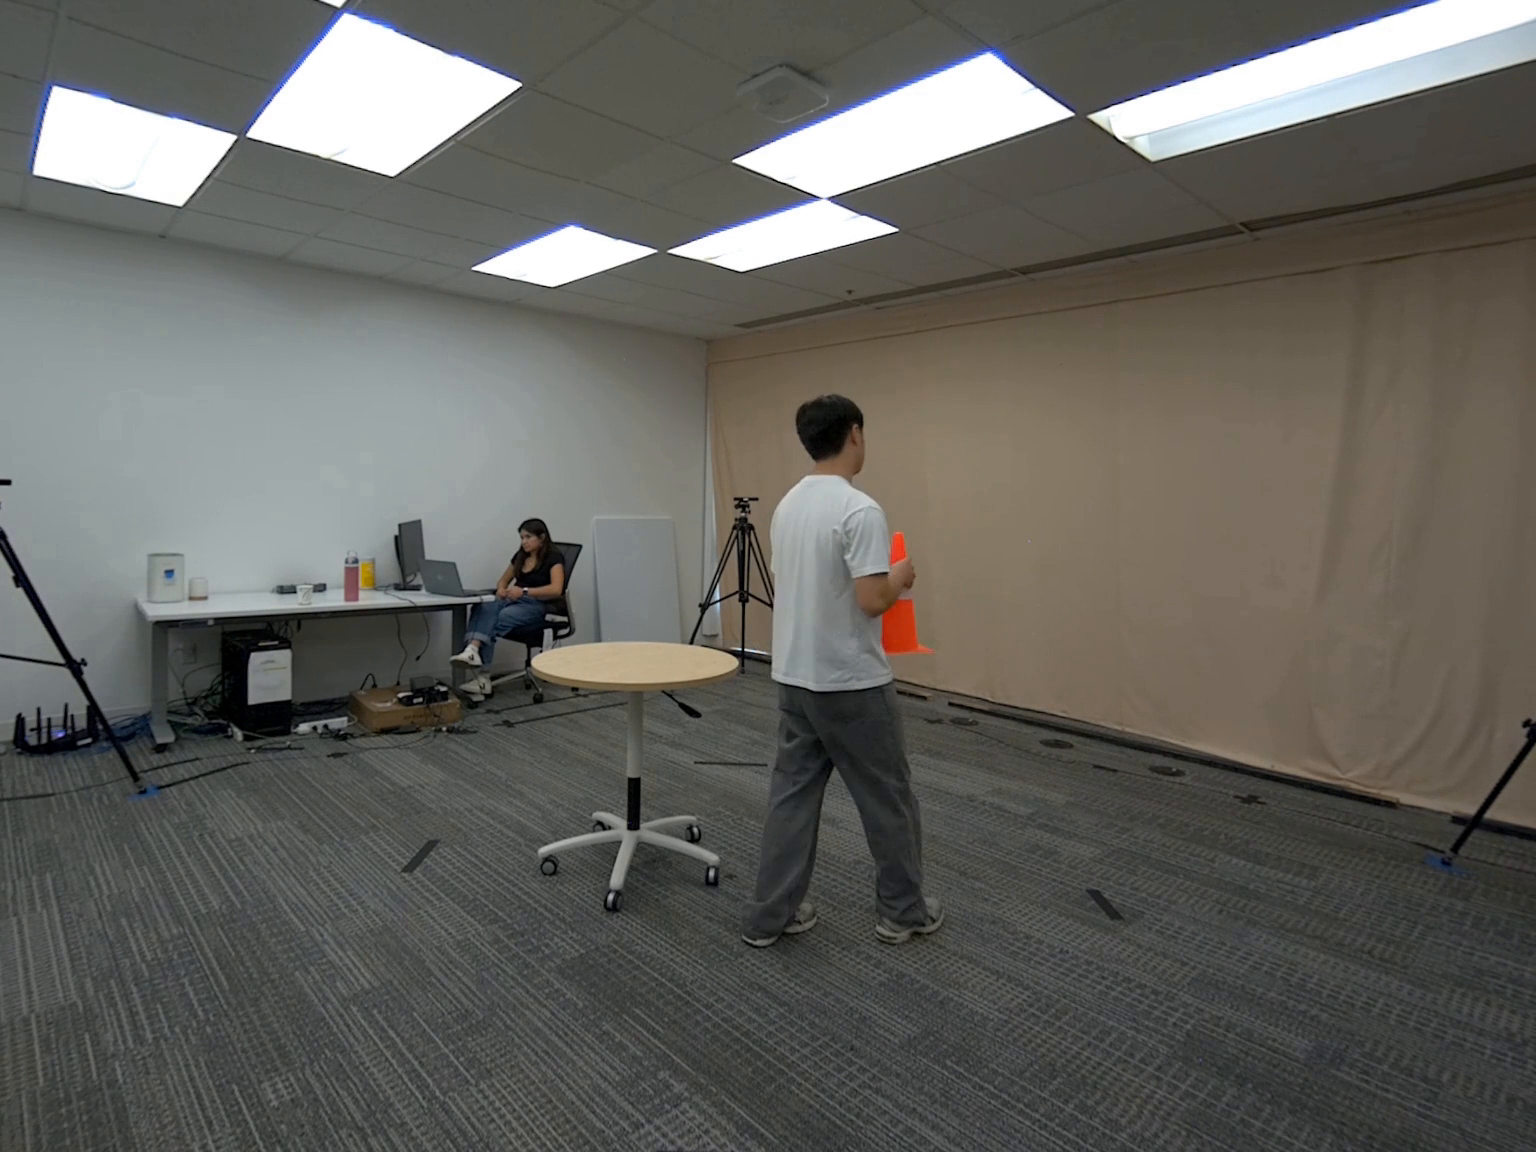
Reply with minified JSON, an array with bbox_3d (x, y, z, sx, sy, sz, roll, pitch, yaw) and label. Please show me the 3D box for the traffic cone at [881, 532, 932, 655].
[{"bbox_3d":[0.425,0.047,2.787,0.208,0.382,0.201,5,5,29],"label":"traffic cone"}]
